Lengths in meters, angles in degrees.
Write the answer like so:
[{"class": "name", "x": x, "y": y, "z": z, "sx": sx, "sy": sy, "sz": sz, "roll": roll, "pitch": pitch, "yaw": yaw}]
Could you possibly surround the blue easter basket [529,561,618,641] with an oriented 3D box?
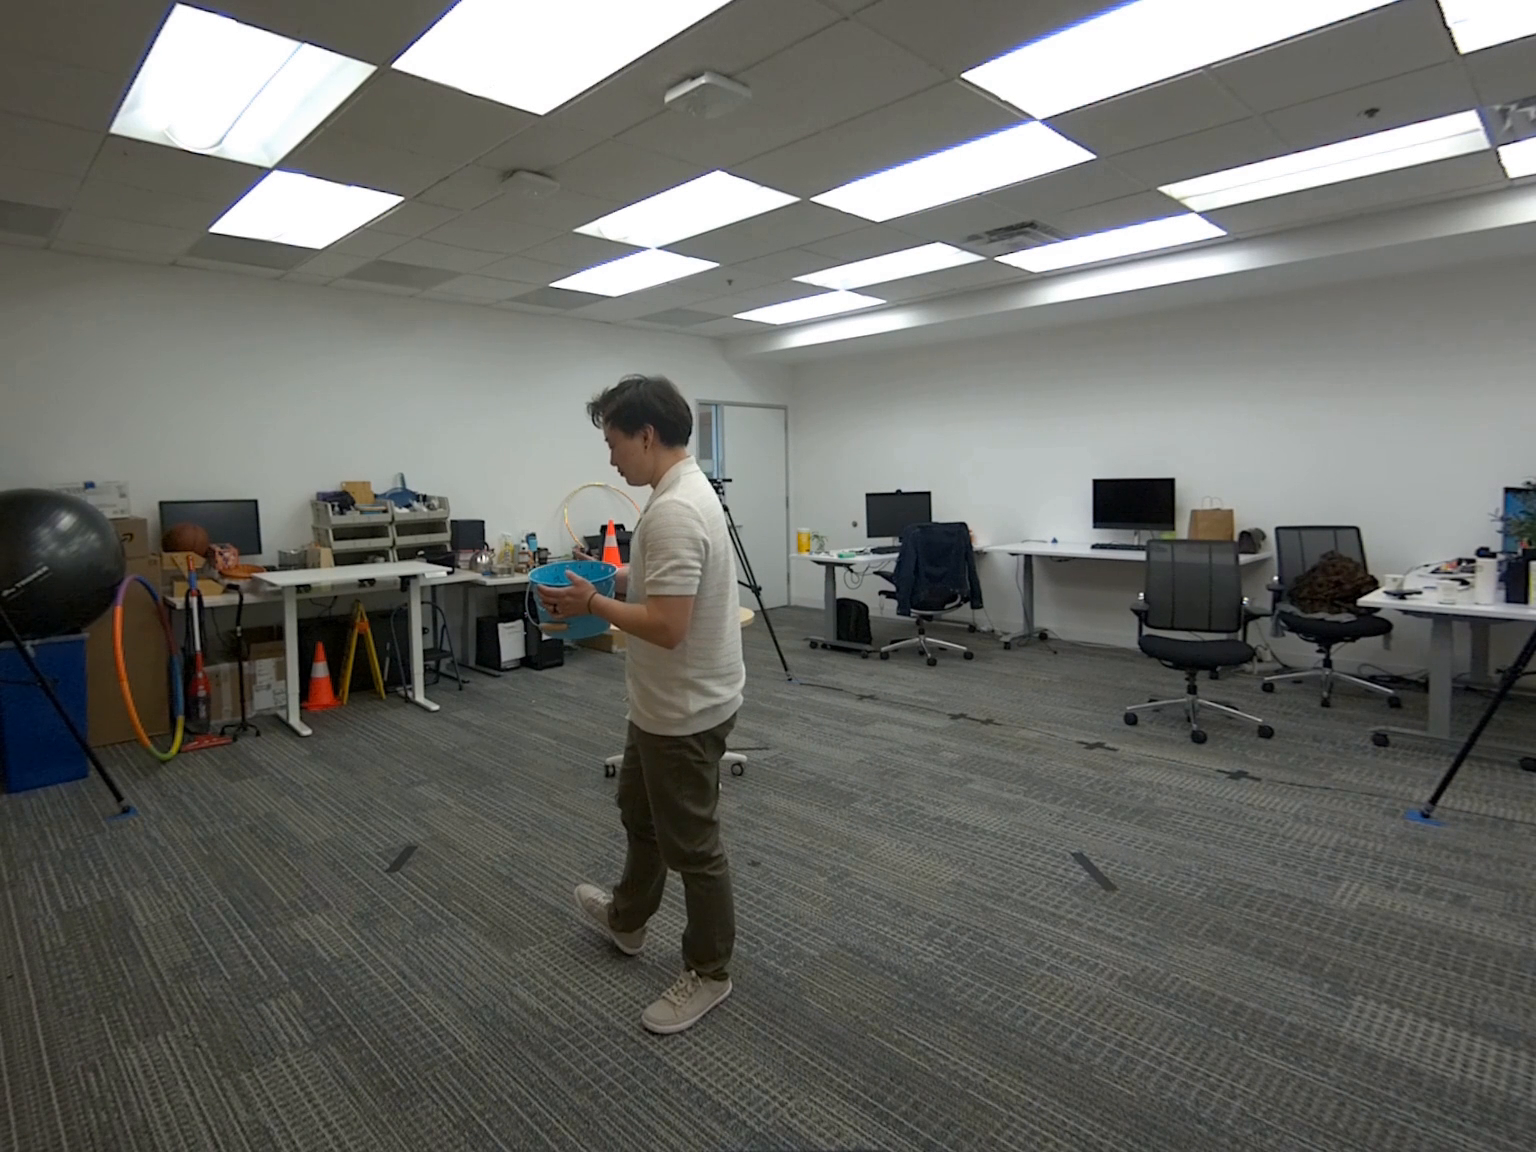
[{"class": "blue easter basket", "x": -0.500, "y": 0.063, "z": 2.205, "sx": 0.243, "sy": 0.154, "sz": 0.246, "roll": -1, "pitch": 13, "yaw": -1}]
